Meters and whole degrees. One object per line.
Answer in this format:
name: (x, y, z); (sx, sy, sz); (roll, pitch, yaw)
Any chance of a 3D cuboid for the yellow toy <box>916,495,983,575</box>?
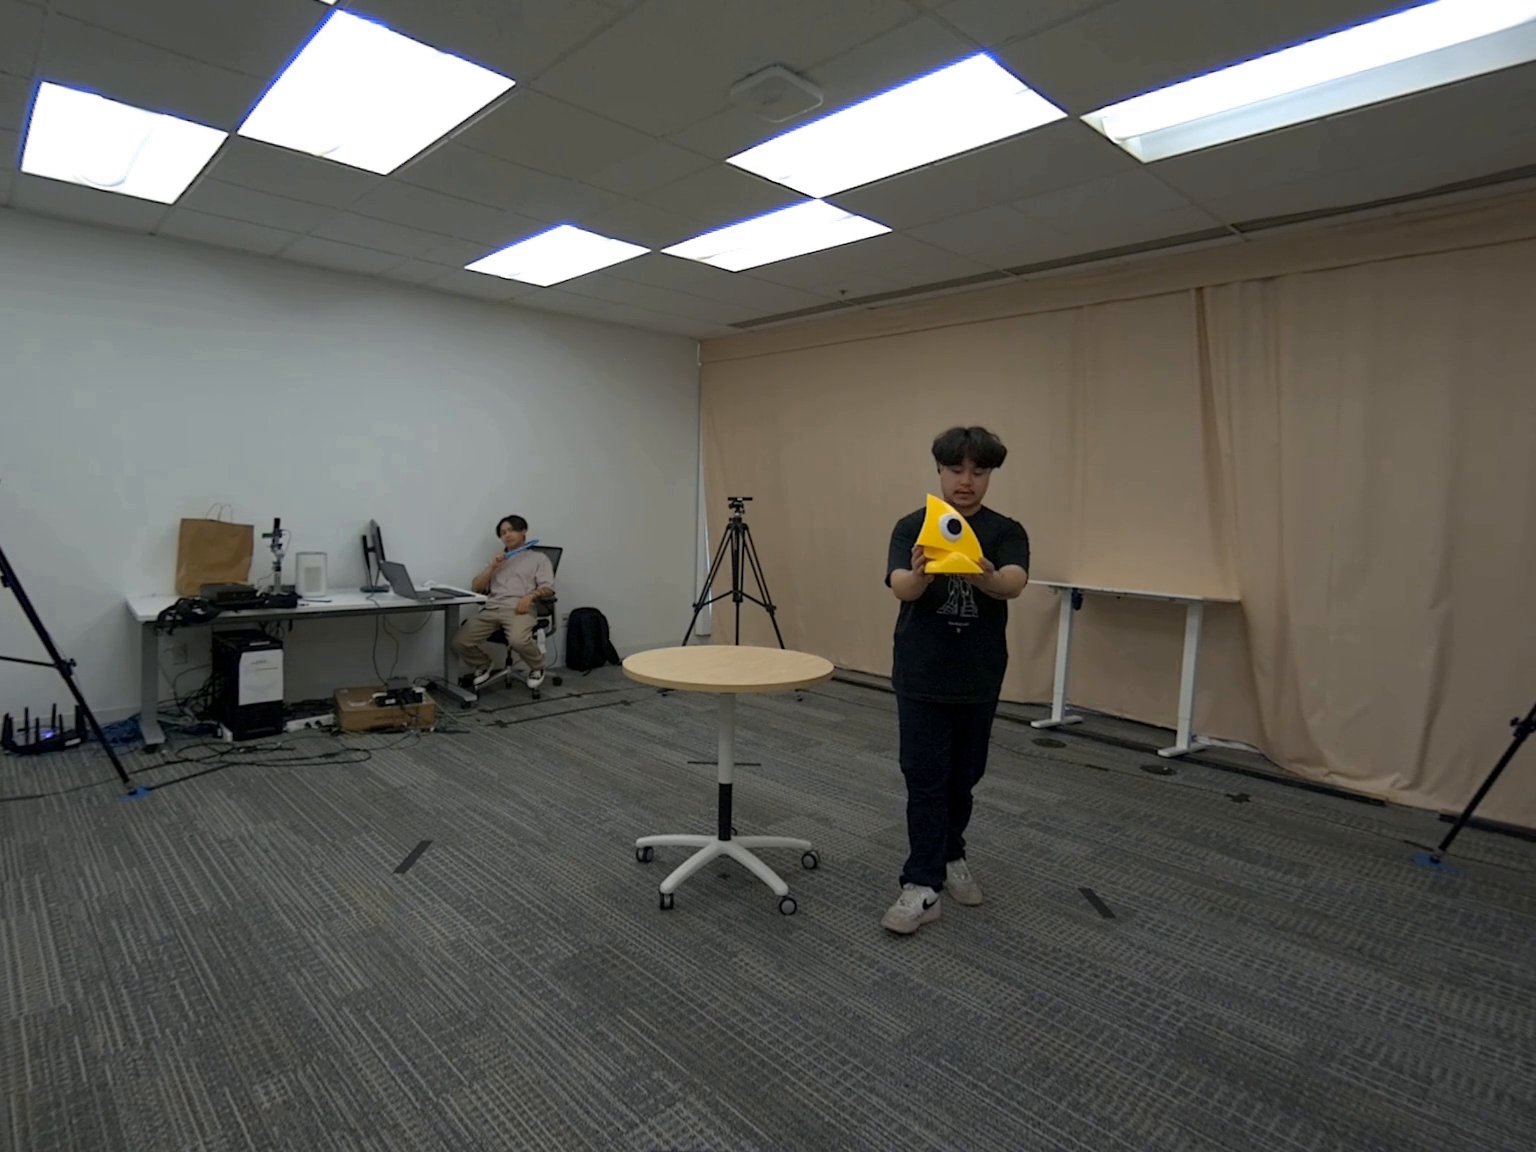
yellow toy: (0.518, -0.120, 2.408); (0.195, 0.231, 0.202); (1, -2, 11)
